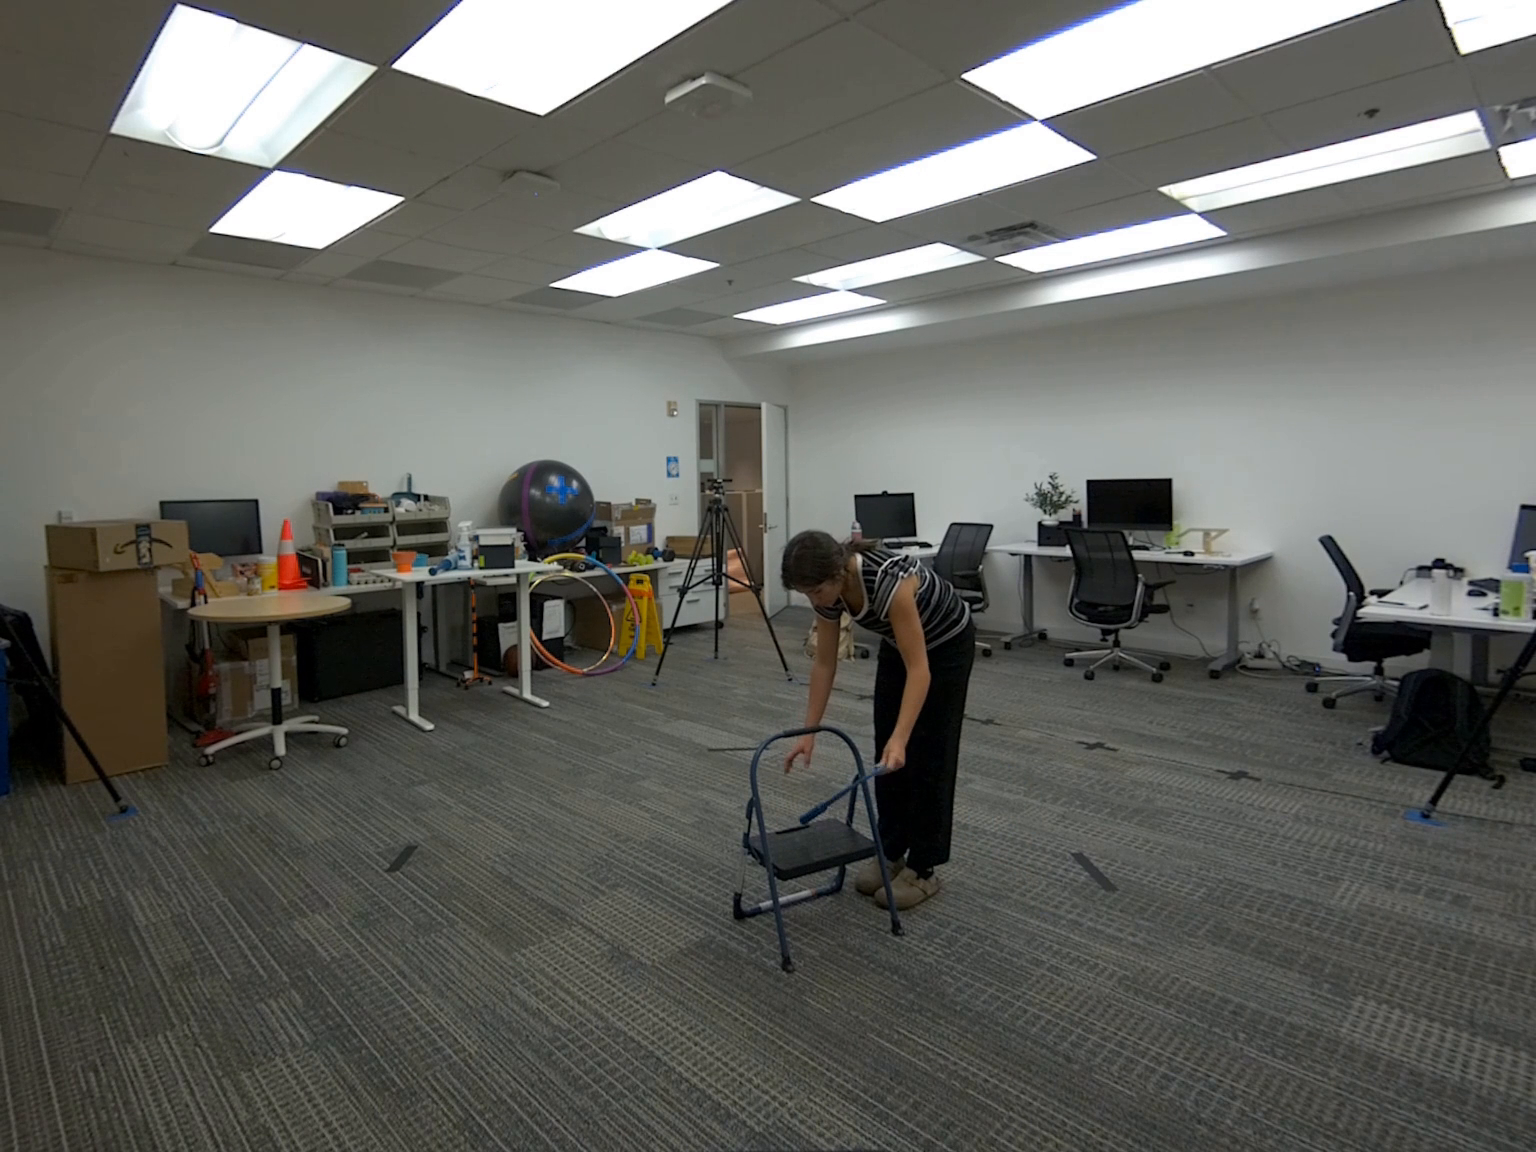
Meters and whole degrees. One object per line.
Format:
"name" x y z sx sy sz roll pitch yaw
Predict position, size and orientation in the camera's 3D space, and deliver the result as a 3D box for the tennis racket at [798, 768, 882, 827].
"tennis racket" 0.222 0.662 2.545 0.210 0.032 0.431 -24 -18 -38
